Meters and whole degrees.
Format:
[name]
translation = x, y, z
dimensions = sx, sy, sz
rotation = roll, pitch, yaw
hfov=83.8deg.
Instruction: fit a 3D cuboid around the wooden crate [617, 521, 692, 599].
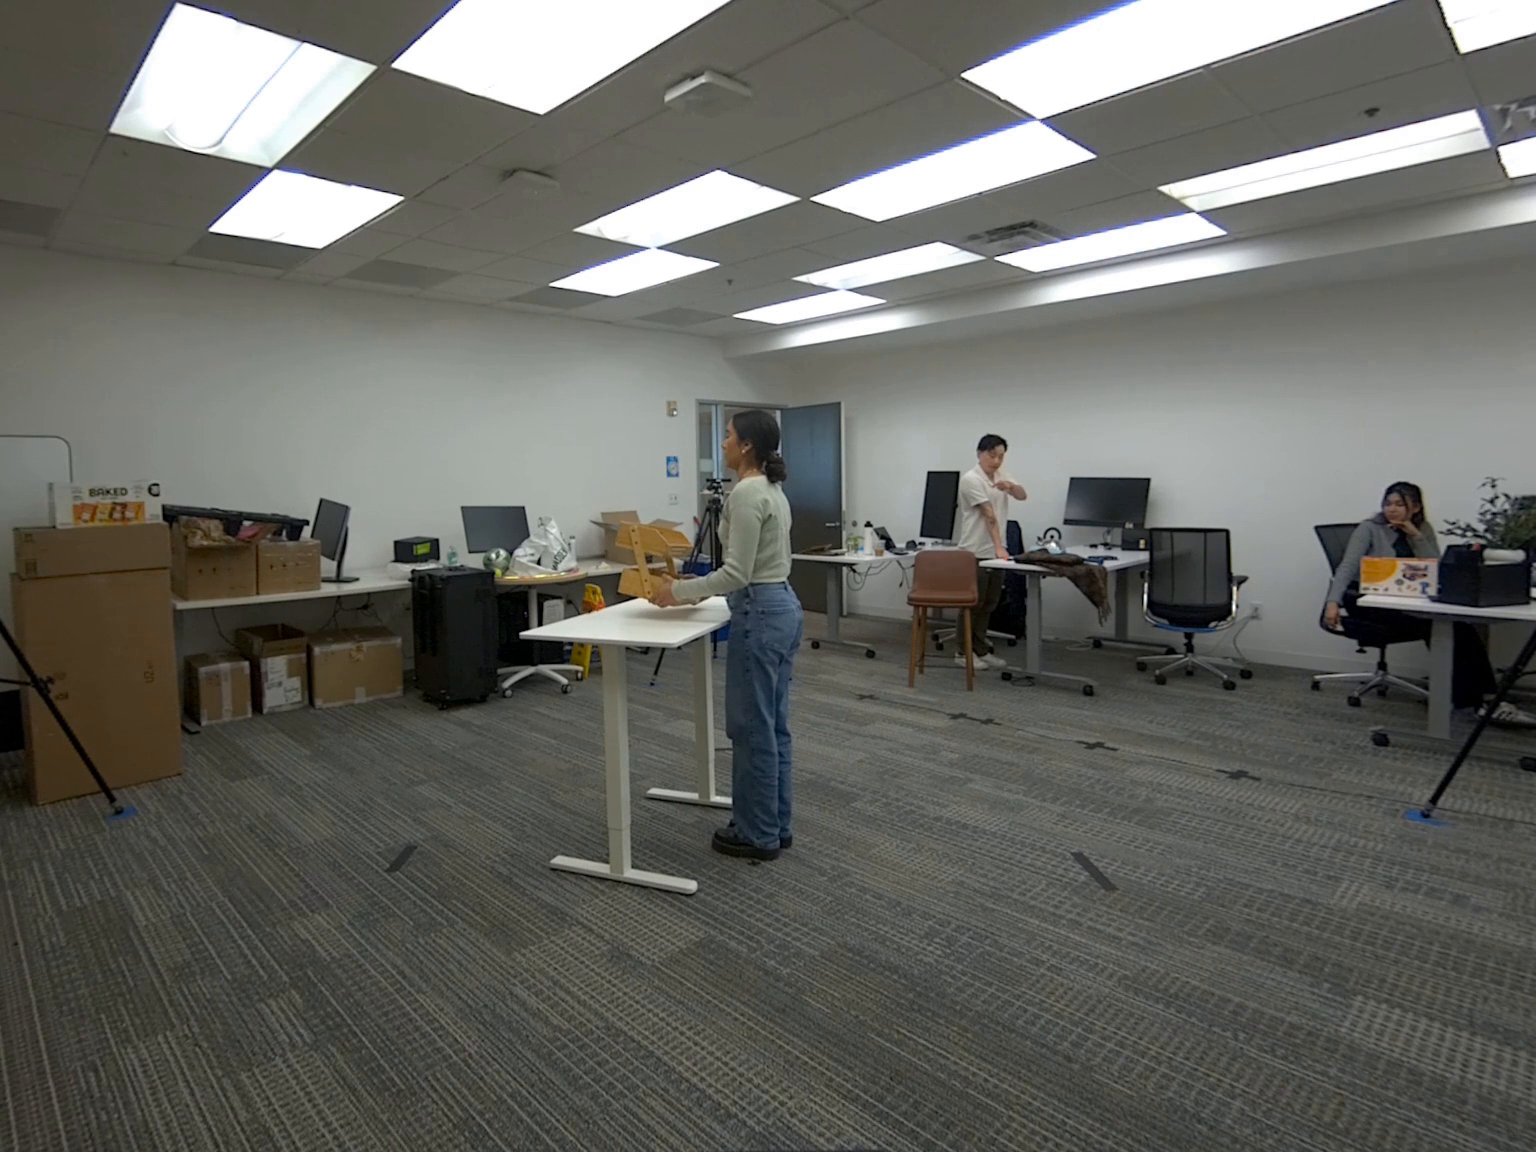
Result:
[wooden crate]
translation = -0.394, -0.051, 3.308
dimensions = 0.307, 0.273, 0.319
rotation = 14, 3, 14
